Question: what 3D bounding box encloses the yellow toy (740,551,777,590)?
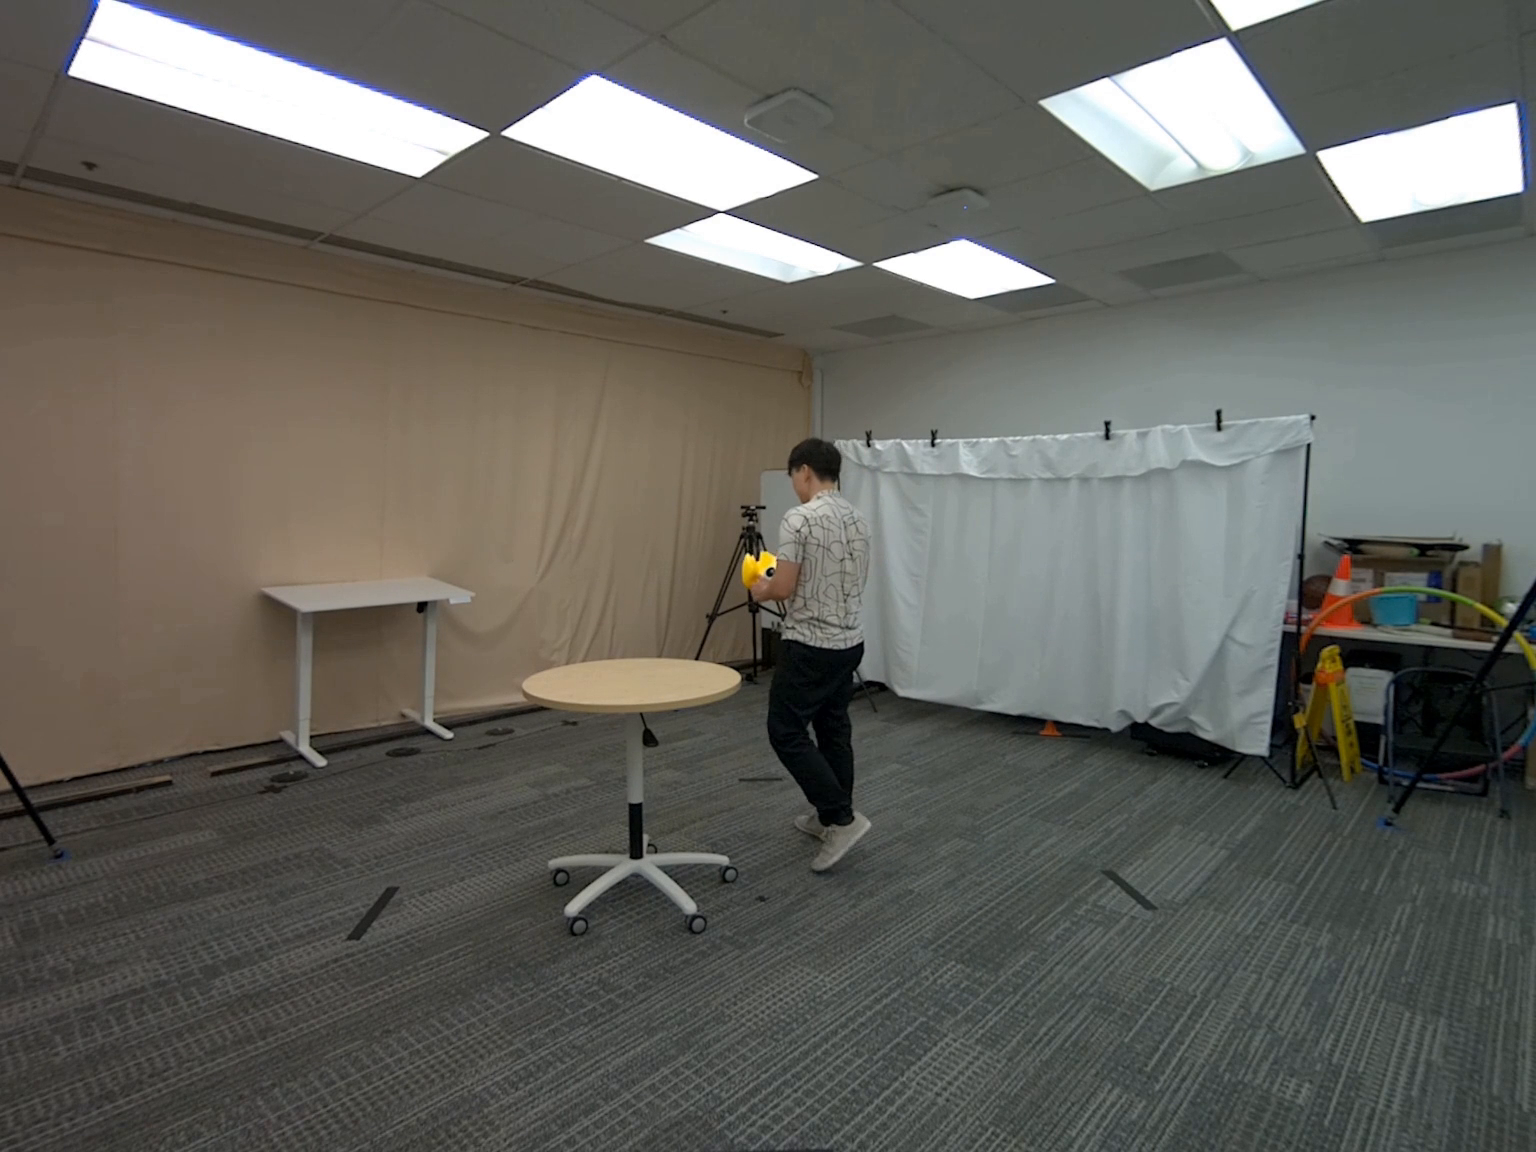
[{"bbox_3d":[0.041,-0.007,3.613,0.238,0.193,0.198,2,4,44],"label":"yellow toy"}]
